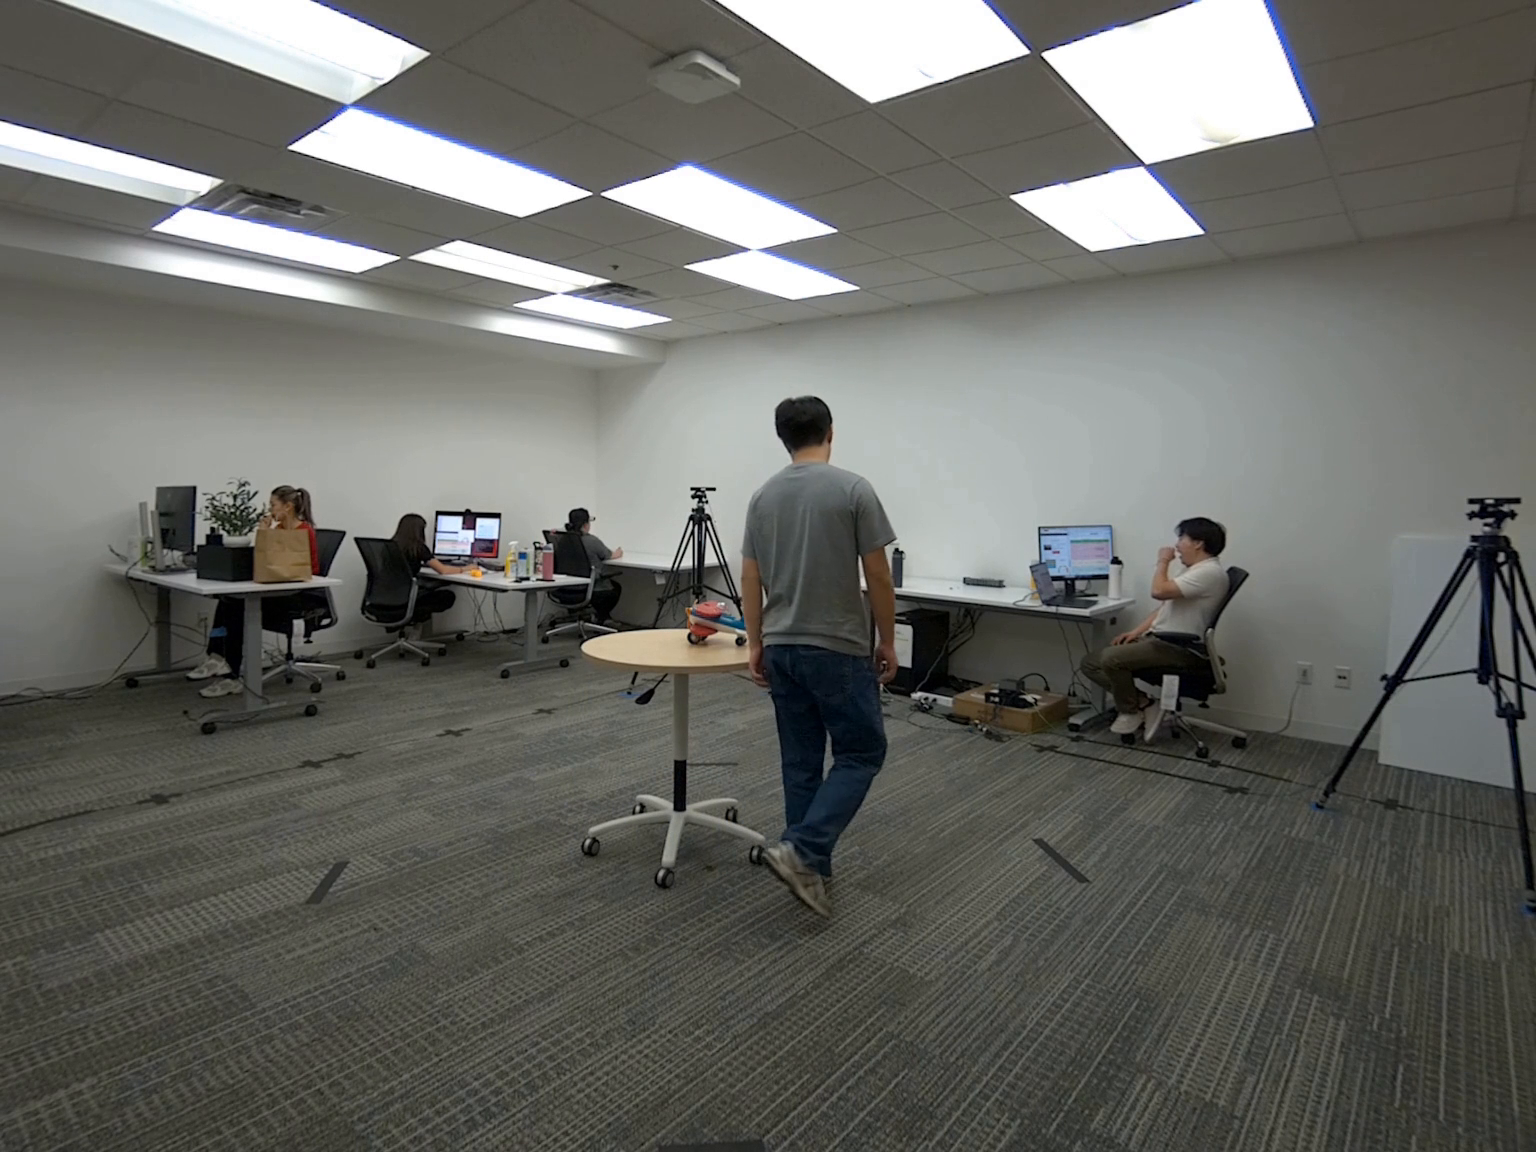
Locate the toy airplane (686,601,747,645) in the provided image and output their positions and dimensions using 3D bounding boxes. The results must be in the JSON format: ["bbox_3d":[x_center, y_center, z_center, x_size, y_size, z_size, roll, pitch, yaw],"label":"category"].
[{"bbox_3d":[-0.204,0.183,3.333,0.256,0.156,0.256,-1,6,-13],"label":"toy airplane"}]
